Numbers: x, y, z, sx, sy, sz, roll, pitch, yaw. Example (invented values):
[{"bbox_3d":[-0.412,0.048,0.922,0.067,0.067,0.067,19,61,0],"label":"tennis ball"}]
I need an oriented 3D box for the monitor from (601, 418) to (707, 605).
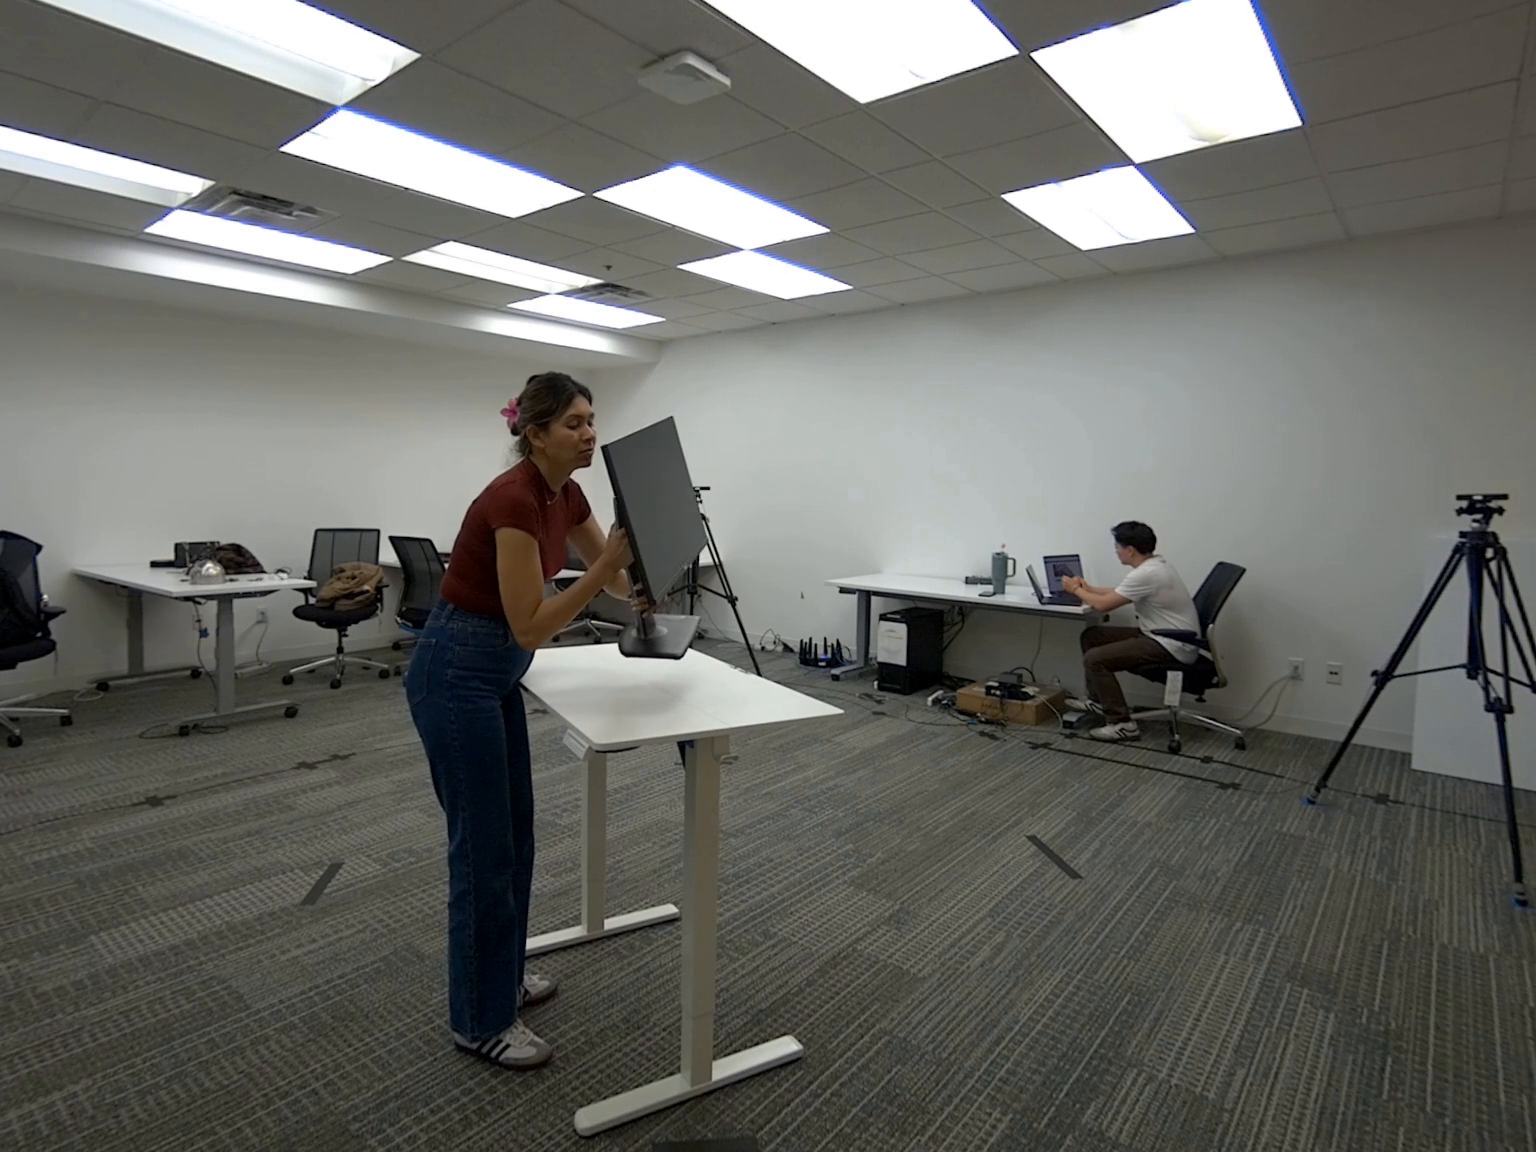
[{"bbox_3d":[-0.282,-0.088,2.007,0.189,0.515,0.542,0,16,8],"label":"monitor"}]
